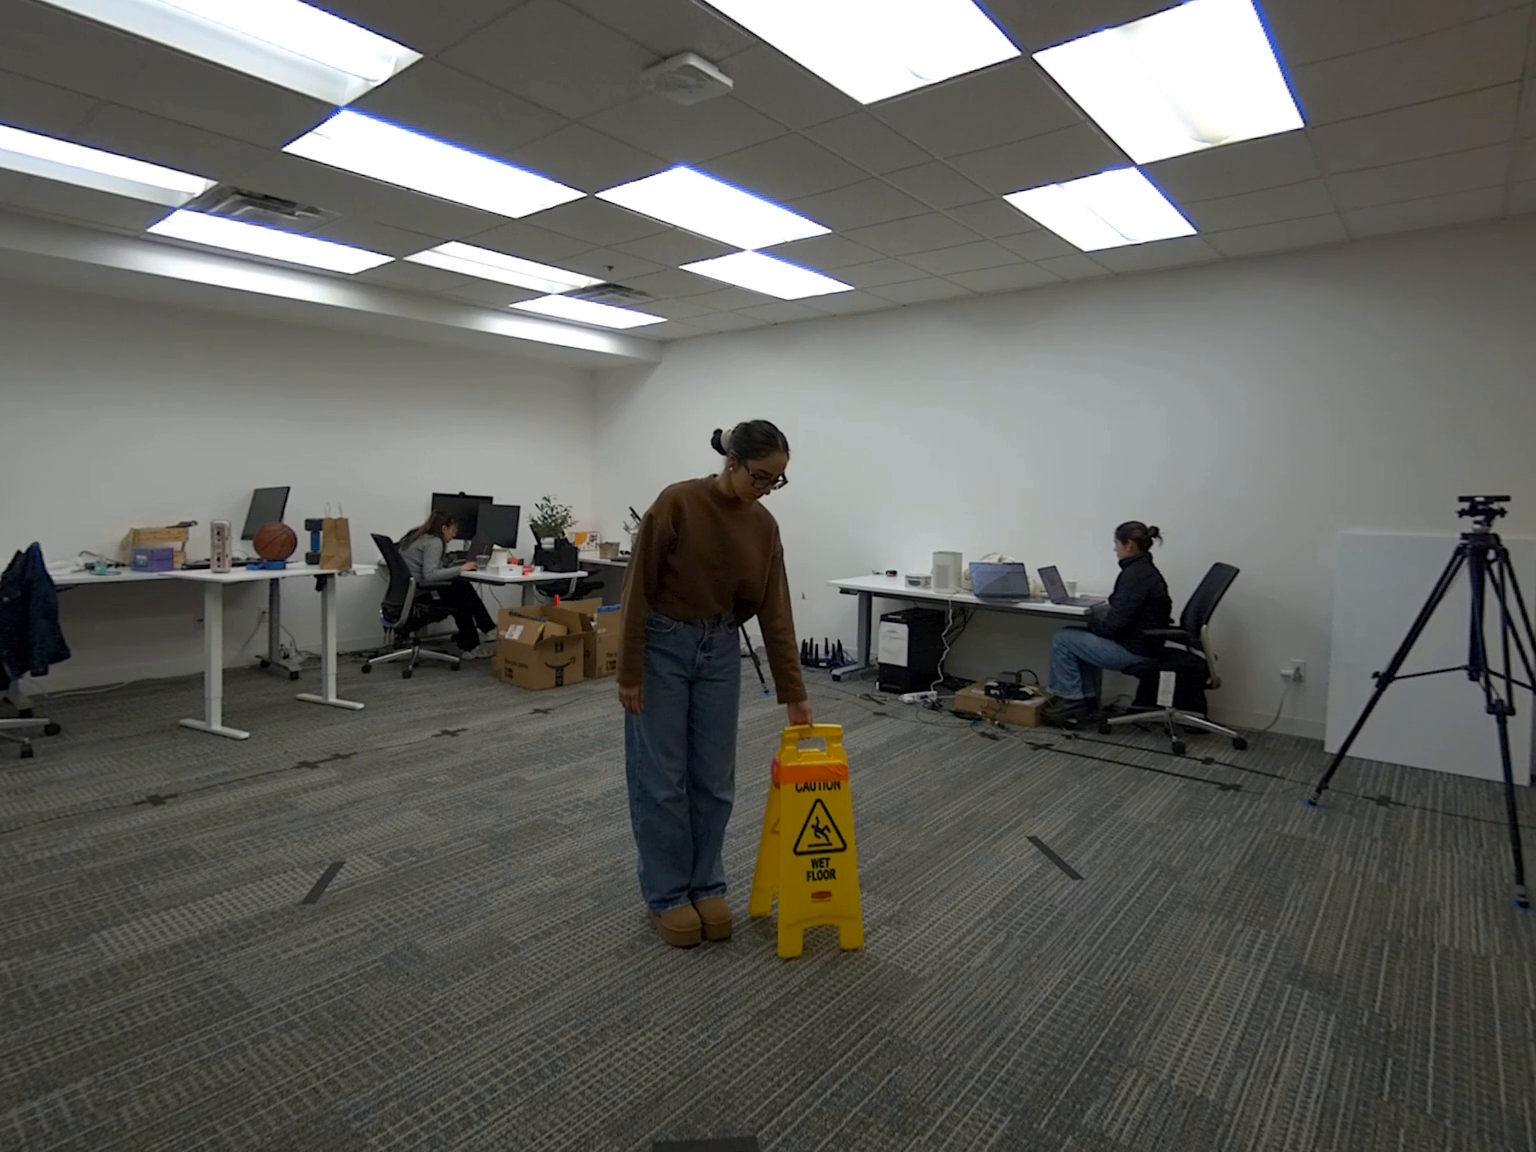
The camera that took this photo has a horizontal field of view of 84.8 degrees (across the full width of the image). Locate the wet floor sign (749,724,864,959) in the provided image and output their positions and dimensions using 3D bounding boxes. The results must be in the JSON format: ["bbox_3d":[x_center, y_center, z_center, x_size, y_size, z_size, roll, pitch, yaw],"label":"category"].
[{"bbox_3d":[0.122,0.787,2.651,0.277,0.645,0.296,2,3,-19],"label":"wet floor sign"}]
